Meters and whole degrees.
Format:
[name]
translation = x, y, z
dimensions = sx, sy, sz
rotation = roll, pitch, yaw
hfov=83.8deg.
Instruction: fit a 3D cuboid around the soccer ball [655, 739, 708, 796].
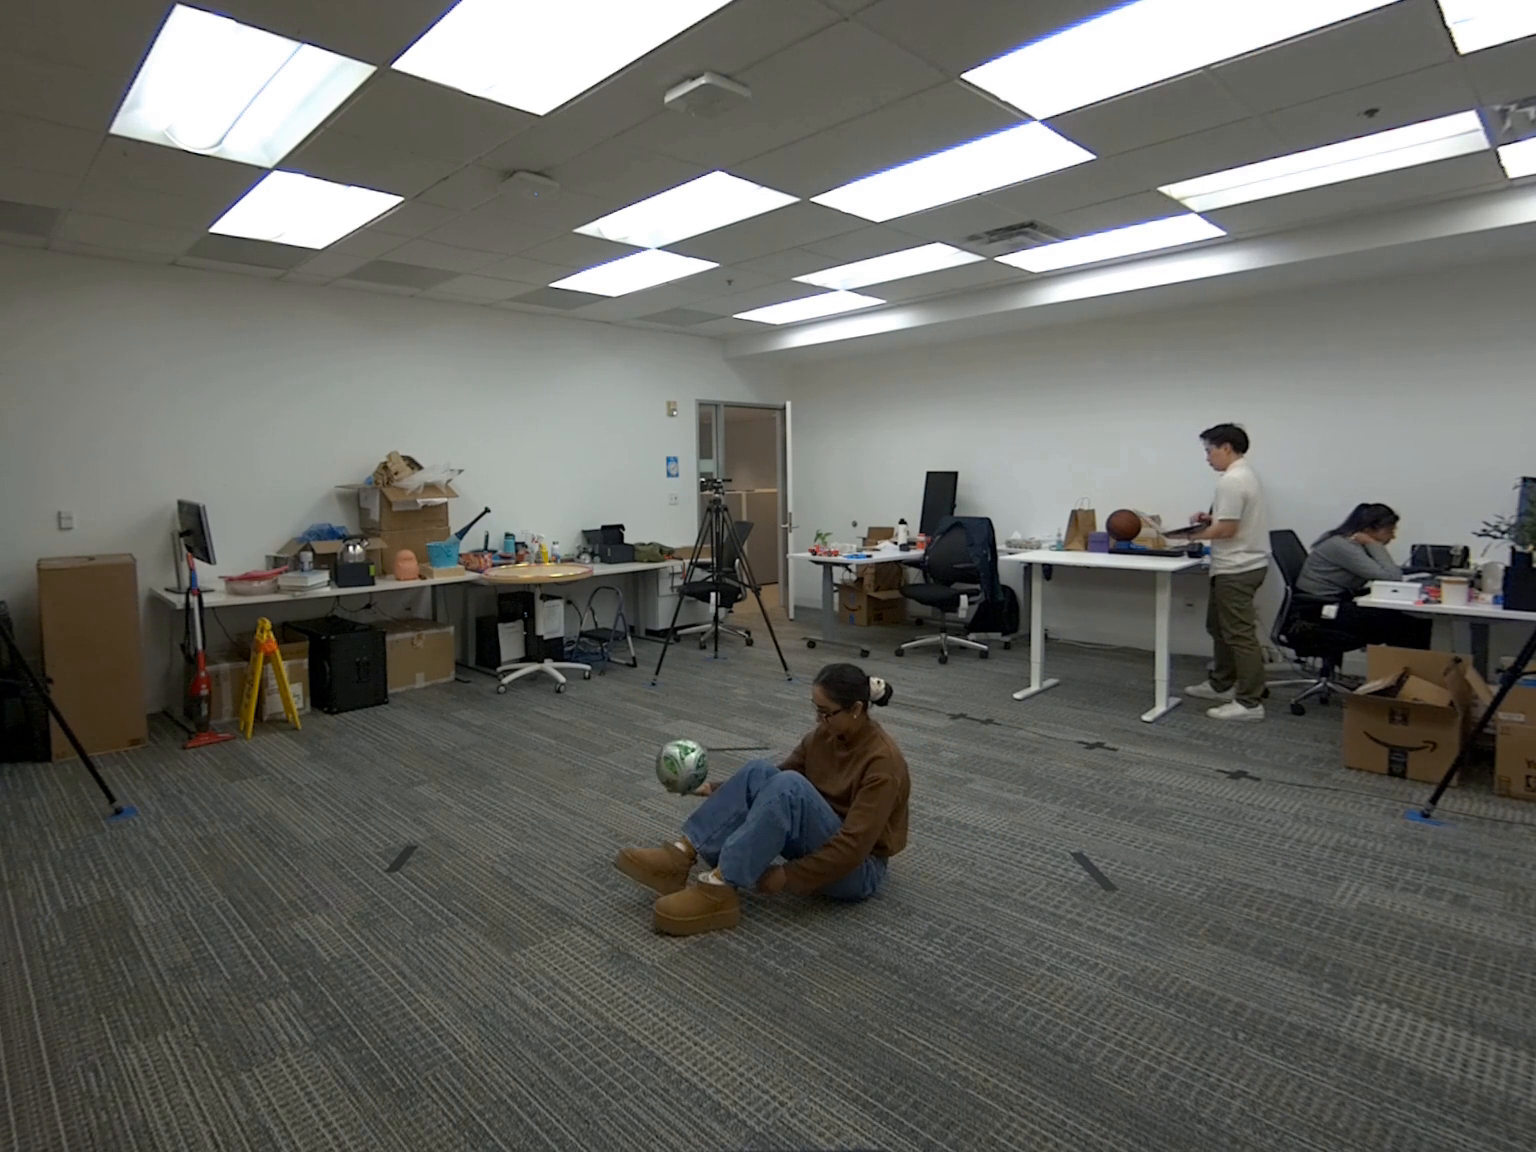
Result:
[soccer ball]
translation = -0.291, 0.682, 3.014
dimensions = 0.187, 0.187, 0.188
rotation = -1, 5, -2
